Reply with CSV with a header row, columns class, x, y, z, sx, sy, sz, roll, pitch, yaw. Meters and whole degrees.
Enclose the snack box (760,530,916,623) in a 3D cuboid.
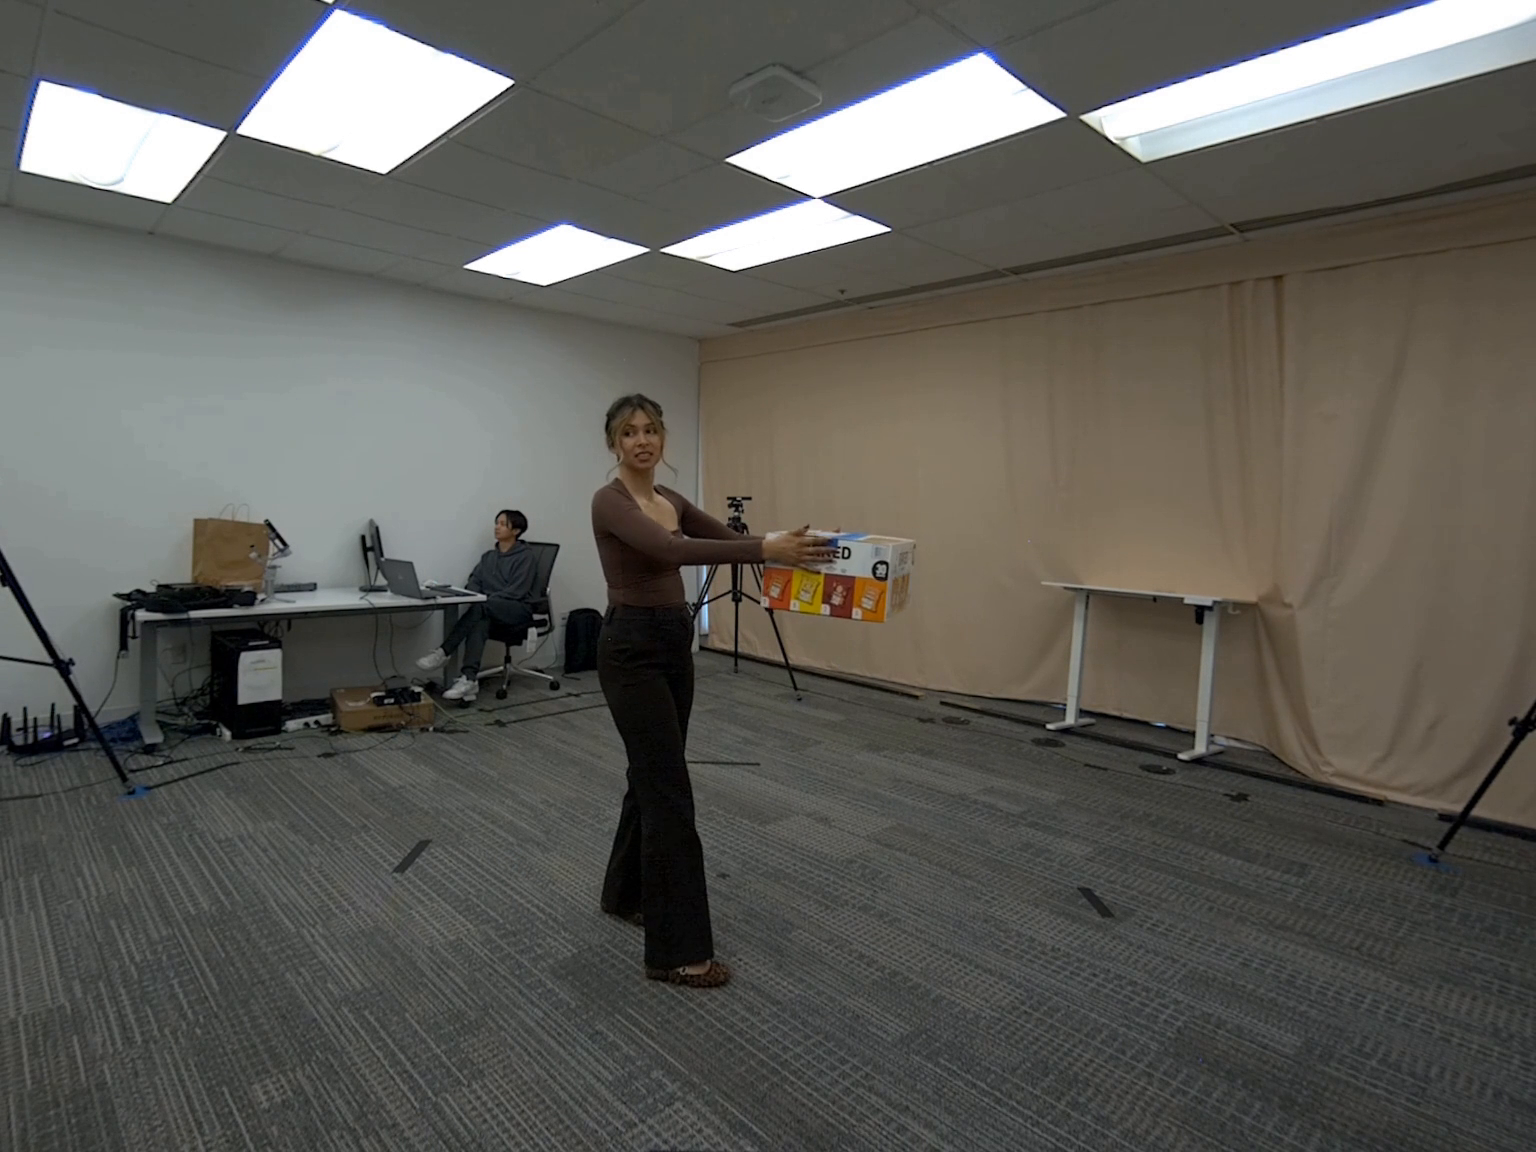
class,x,y,z,sx,sy,sz,roll,pitch,yaw
snack box,0.197,-0.011,2.365,0.346,0.205,0.399,6,5,20
